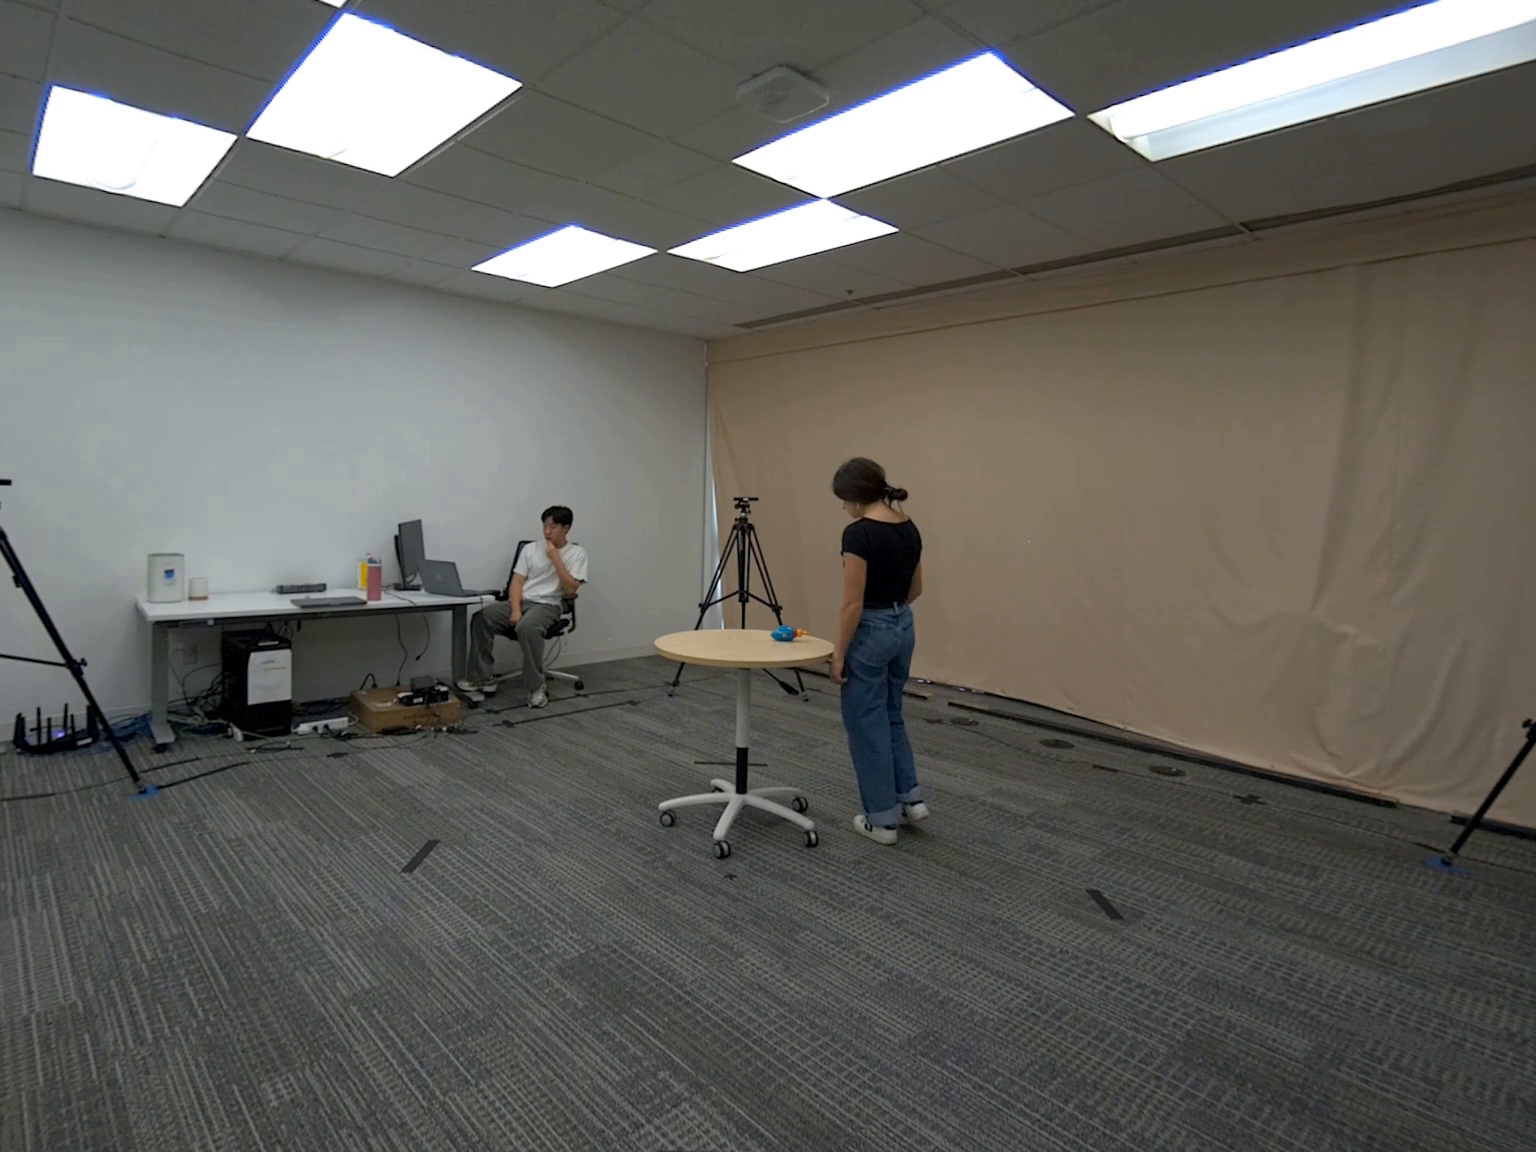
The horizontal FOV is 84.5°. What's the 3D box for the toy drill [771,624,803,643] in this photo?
[{"bbox_3d":[0.097,0.245,3.699,0.171,0.061,0.146,-6,4,7],"label":"toy drill"}]
